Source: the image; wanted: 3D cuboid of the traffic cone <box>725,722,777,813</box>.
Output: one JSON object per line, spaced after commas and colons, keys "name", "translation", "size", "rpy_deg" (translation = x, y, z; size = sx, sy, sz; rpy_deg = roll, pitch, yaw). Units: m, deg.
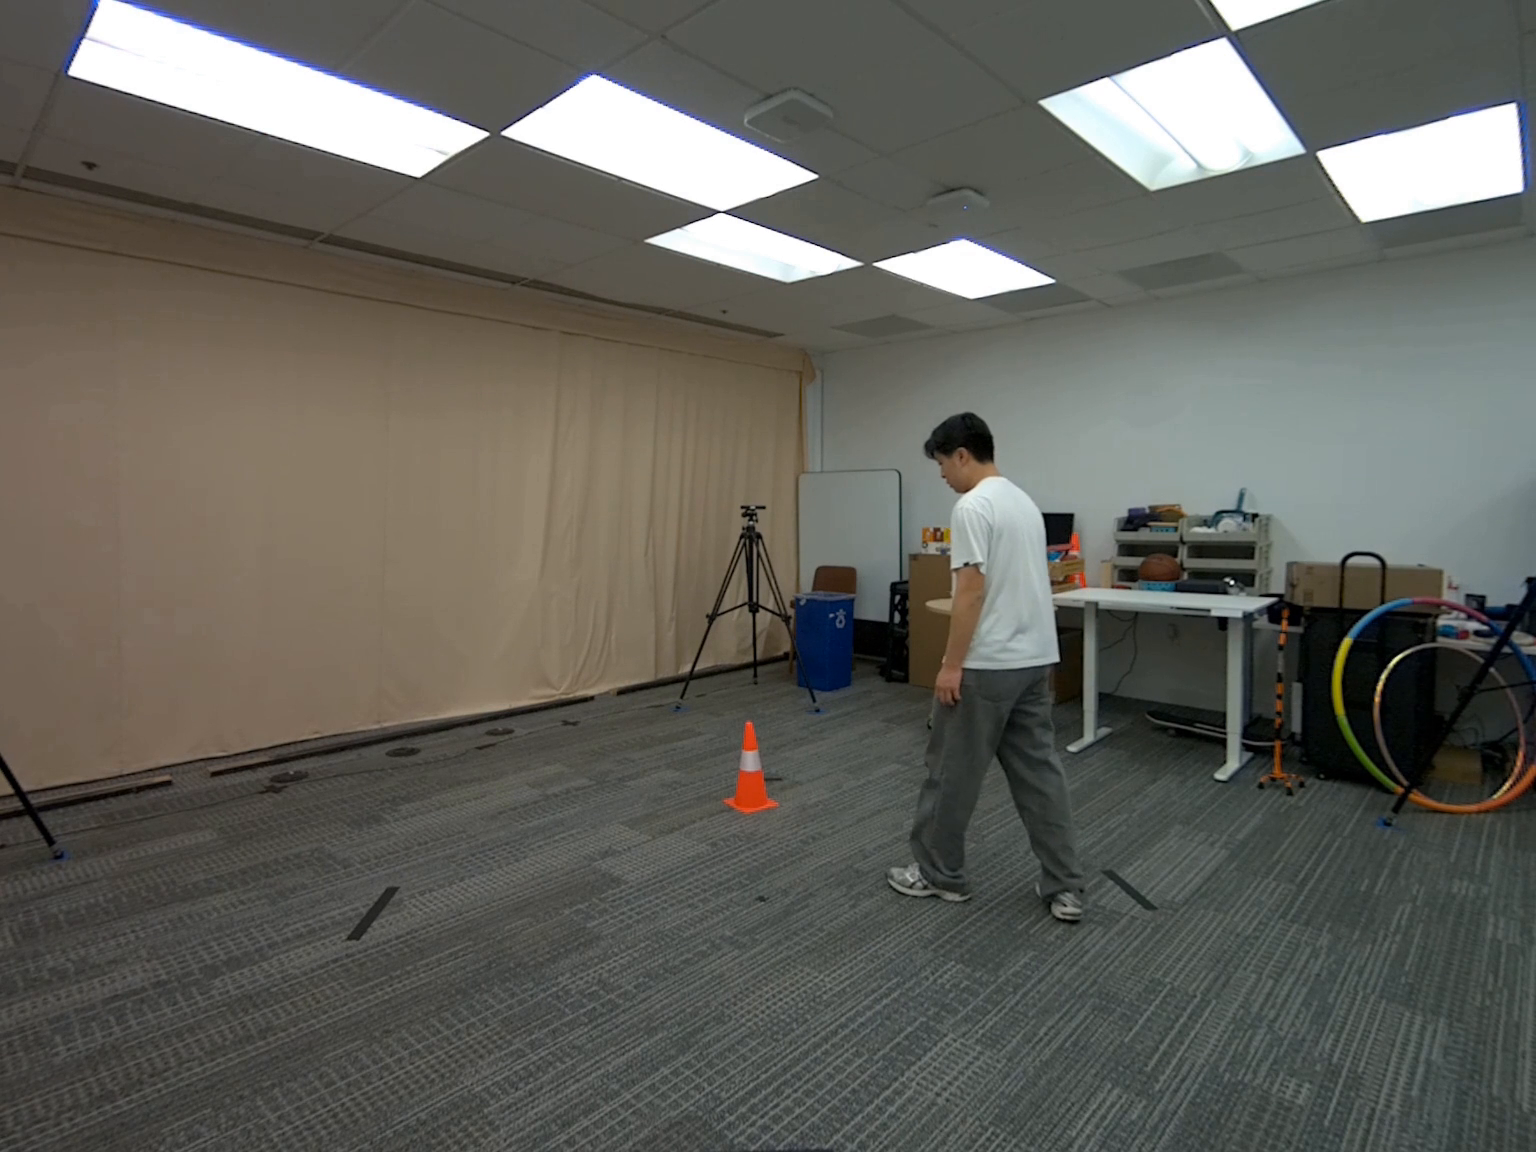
{"name": "traffic cone", "translation": [-0.082, 0.881, 3.957], "size": [0.197, 0.383, 0.211], "rpy_deg": [-3, 3, -39]}
